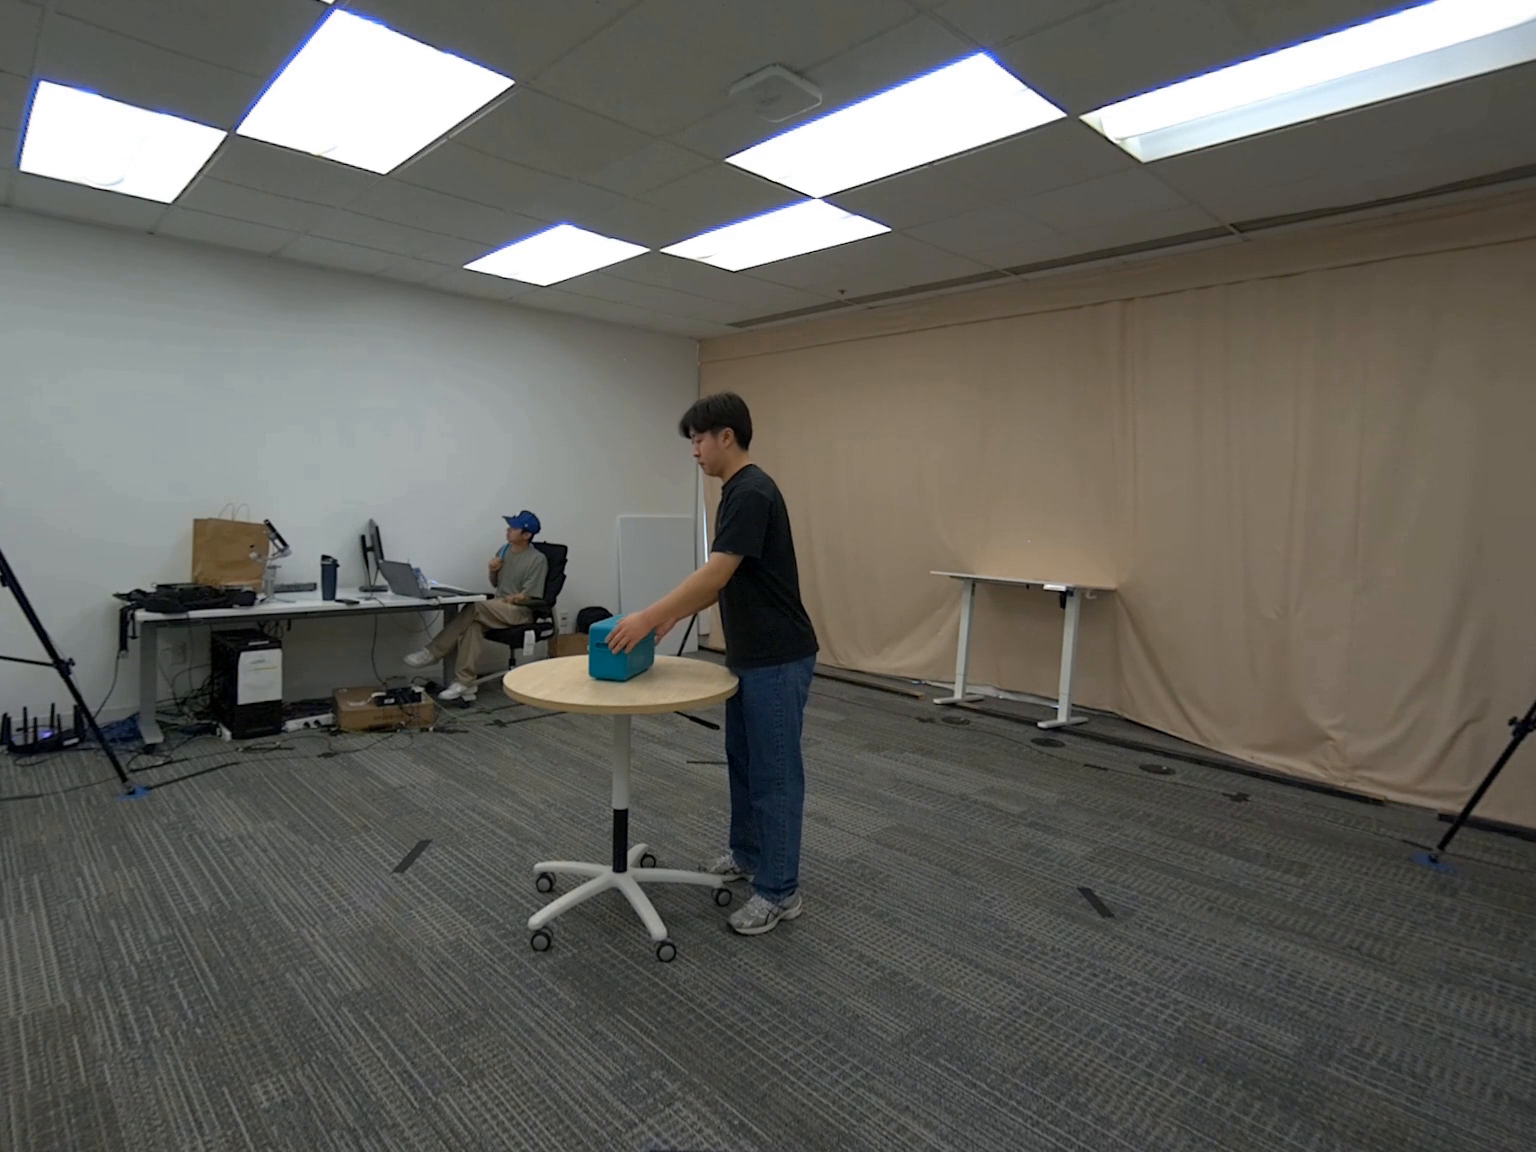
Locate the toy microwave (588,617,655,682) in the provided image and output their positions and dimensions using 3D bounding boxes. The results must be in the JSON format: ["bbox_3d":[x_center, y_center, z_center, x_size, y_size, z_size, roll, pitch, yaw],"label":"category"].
[{"bbox_3d":[-0.492,0.236,2.813,0.154,0.183,0.284,2,6,12],"label":"toy microwave"}]
